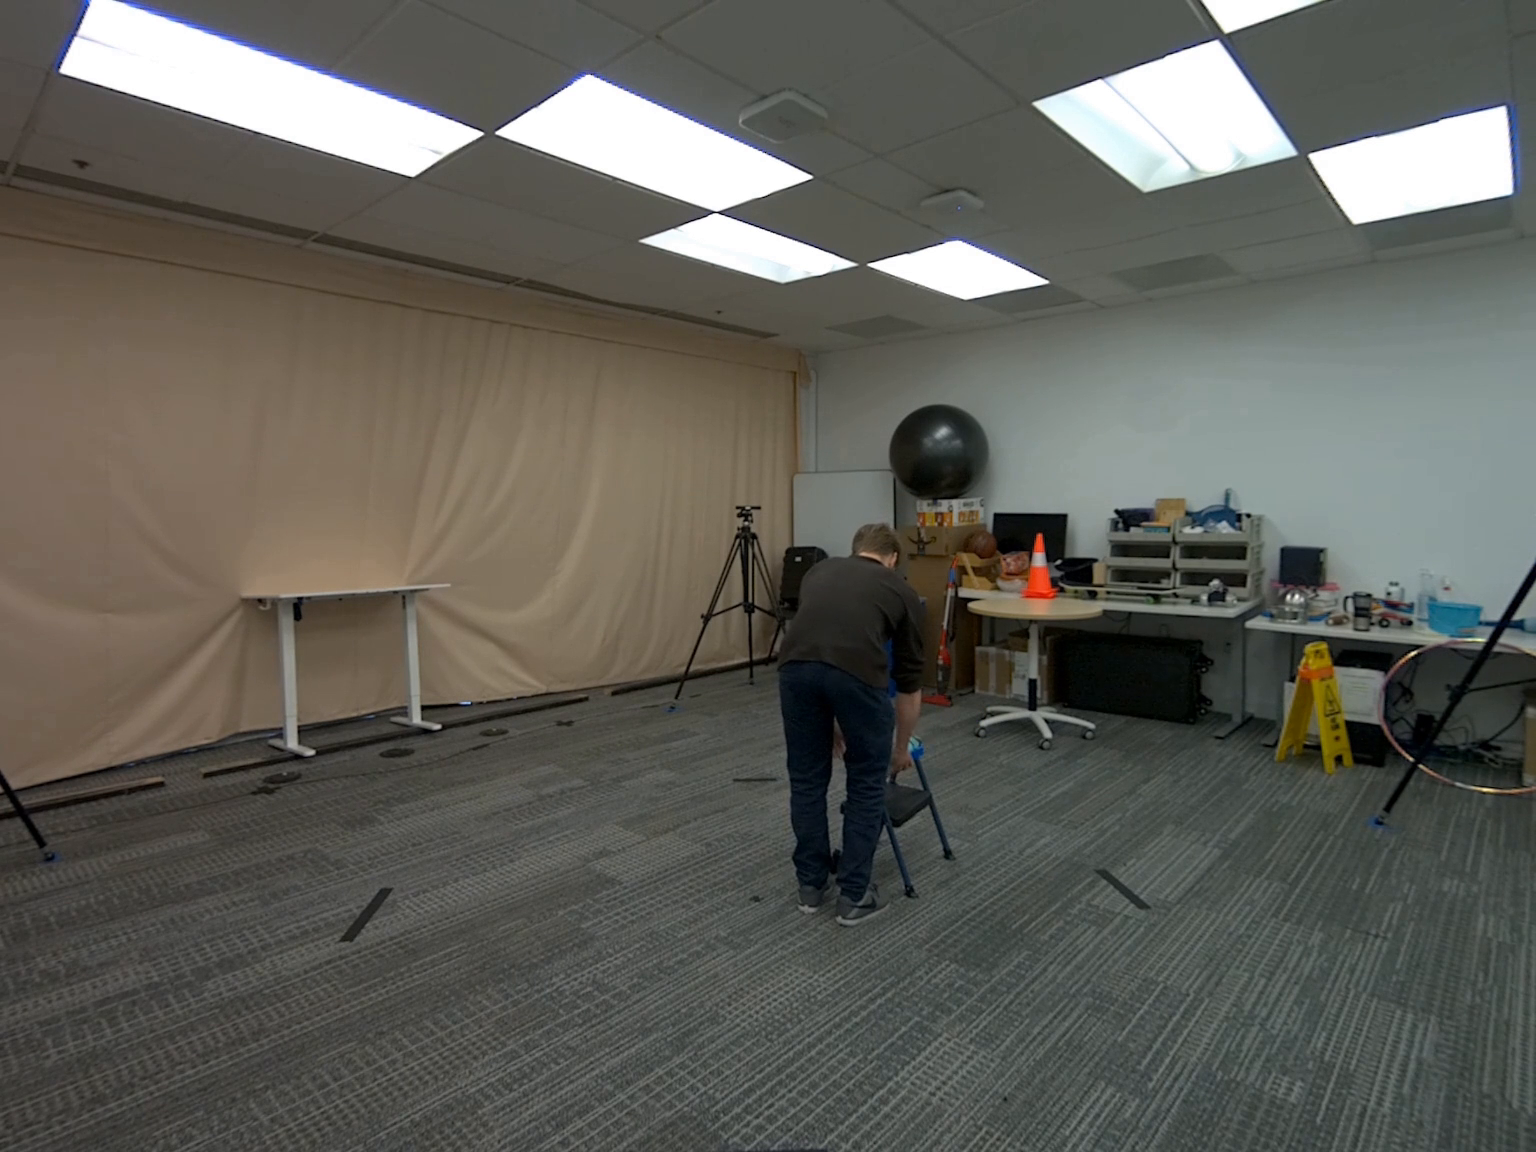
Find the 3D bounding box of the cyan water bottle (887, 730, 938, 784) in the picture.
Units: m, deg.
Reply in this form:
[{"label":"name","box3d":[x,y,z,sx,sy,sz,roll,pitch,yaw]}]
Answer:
[{"label":"cyan water bottle","box3d":[0.485,0.697,3.216,0.280,0.091,0.094,-23,10,-15]}]
